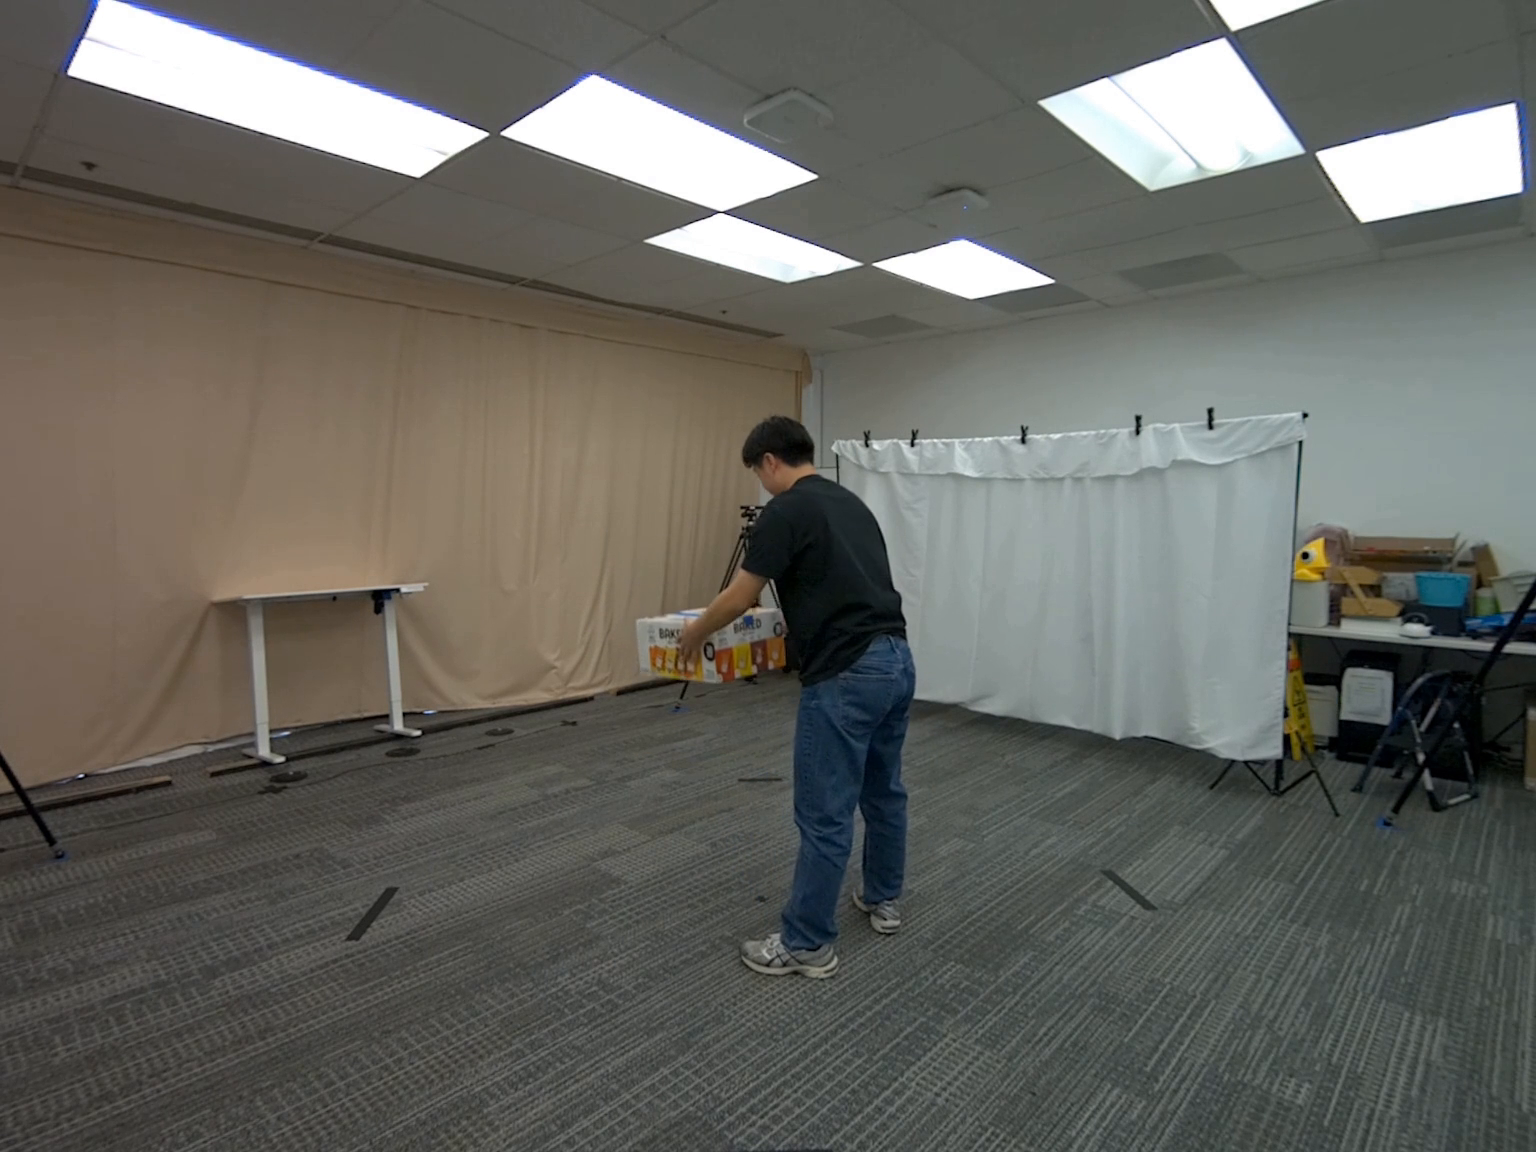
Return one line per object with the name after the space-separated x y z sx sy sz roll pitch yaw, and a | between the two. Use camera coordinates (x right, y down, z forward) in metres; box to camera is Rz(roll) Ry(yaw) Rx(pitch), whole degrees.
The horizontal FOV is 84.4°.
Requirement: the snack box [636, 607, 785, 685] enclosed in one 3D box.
-0.206 0.244 3.022 0.418 0.205 0.330 -1 5 44 | snack box
